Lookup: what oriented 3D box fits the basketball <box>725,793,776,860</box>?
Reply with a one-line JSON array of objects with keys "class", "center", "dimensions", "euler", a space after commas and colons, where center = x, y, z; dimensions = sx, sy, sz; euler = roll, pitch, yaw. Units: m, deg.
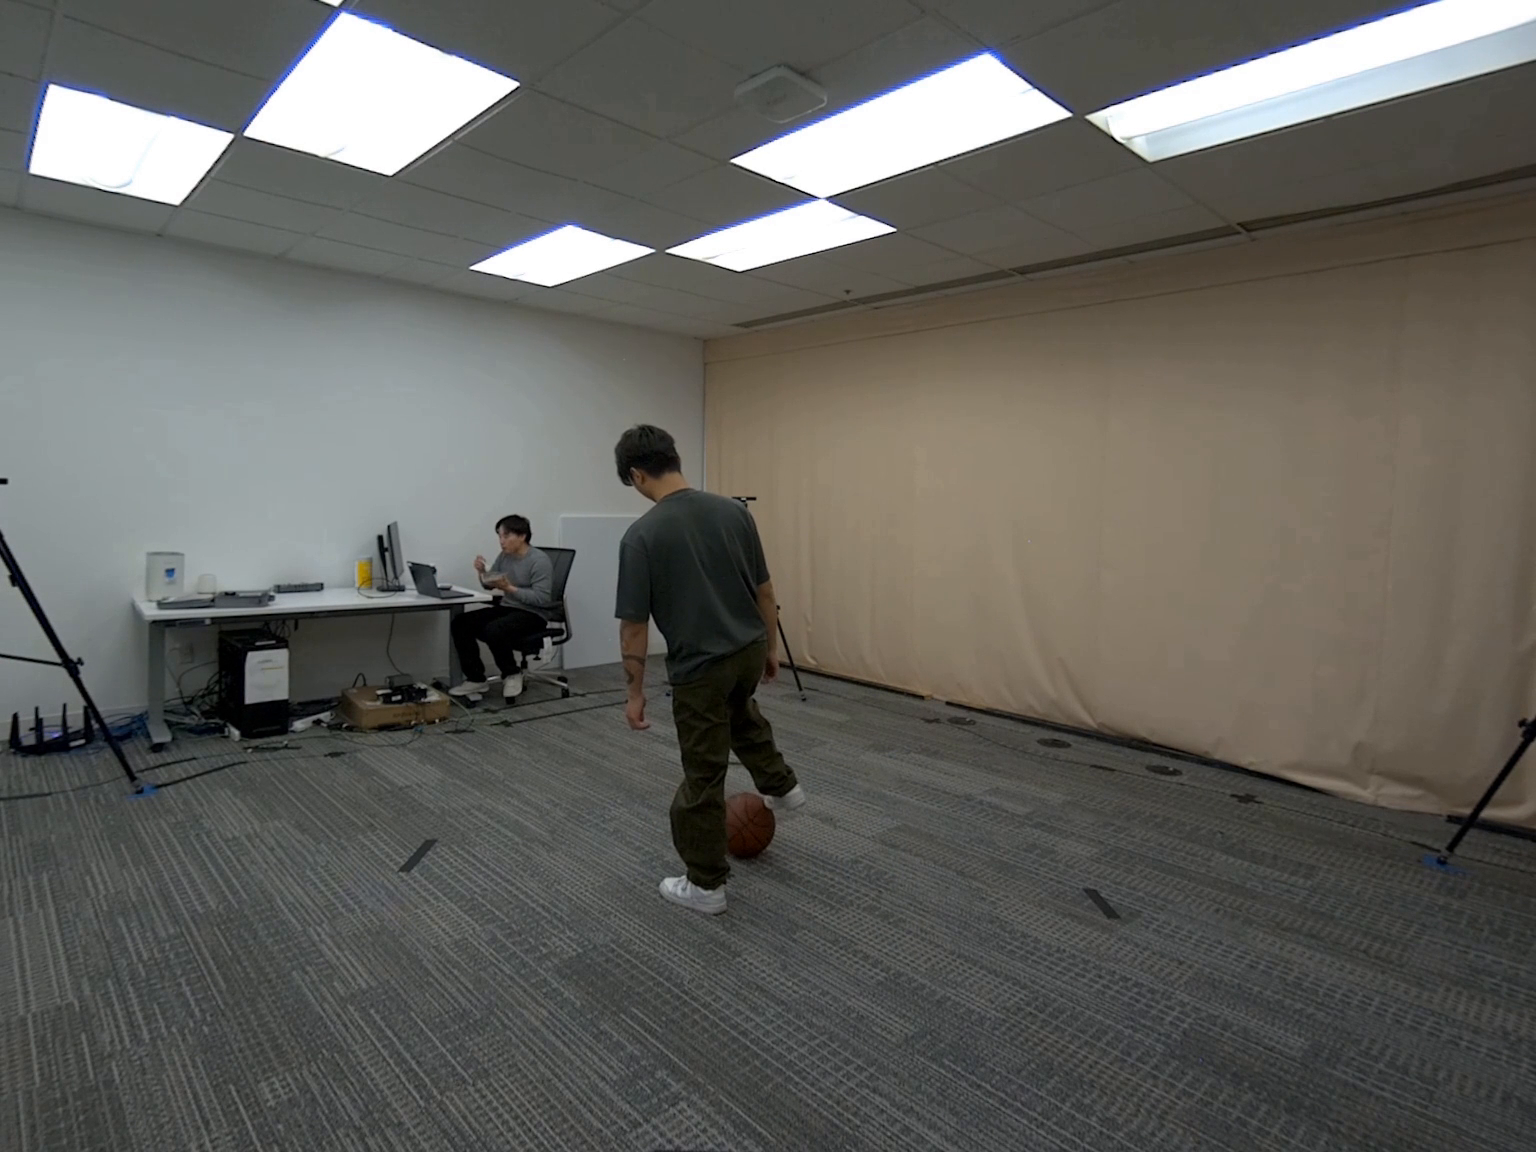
[{"class": "basketball", "center": [-0.097, 0.972, 3.300], "dimensions": [0.236, 0.235, 0.237], "euler": [1, 4, -1]}]
